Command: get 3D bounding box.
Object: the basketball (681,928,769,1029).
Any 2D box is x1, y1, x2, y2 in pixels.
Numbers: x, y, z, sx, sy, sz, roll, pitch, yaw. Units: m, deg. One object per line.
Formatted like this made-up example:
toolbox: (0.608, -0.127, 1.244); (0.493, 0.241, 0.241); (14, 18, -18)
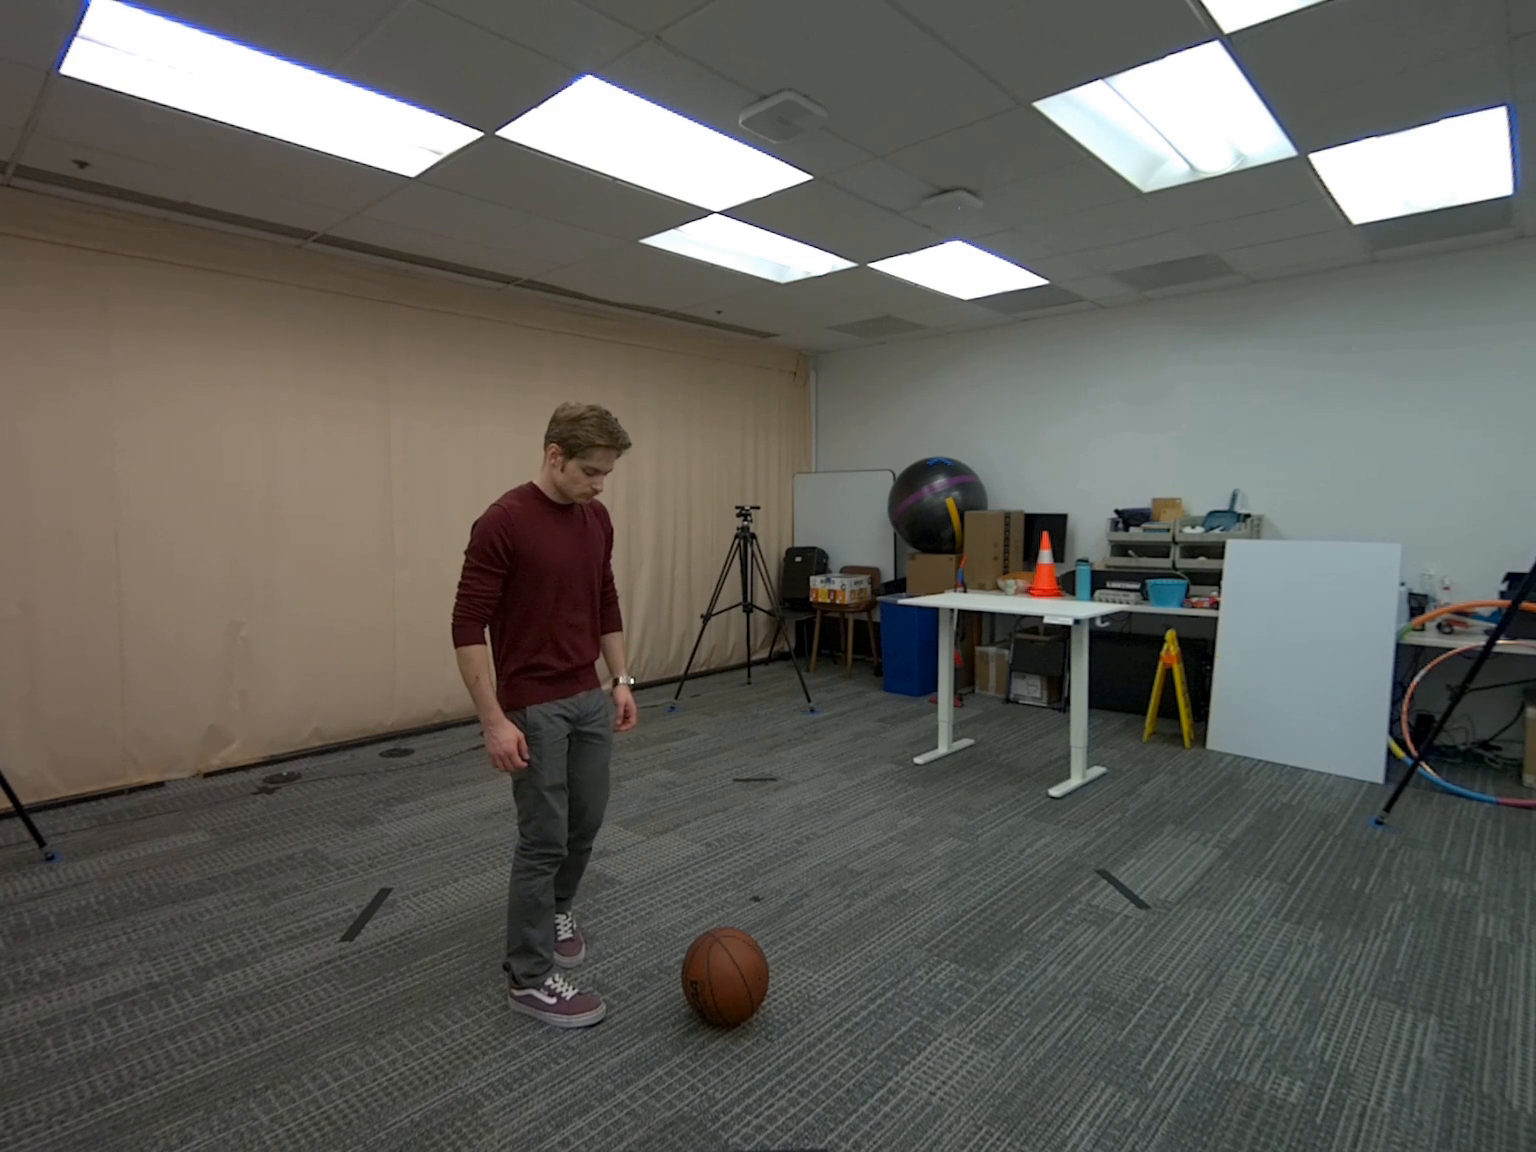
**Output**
basketball: (-0.112, 1.083, 2.282); (0.236, 0.235, 0.237); (0, 4, -2)
